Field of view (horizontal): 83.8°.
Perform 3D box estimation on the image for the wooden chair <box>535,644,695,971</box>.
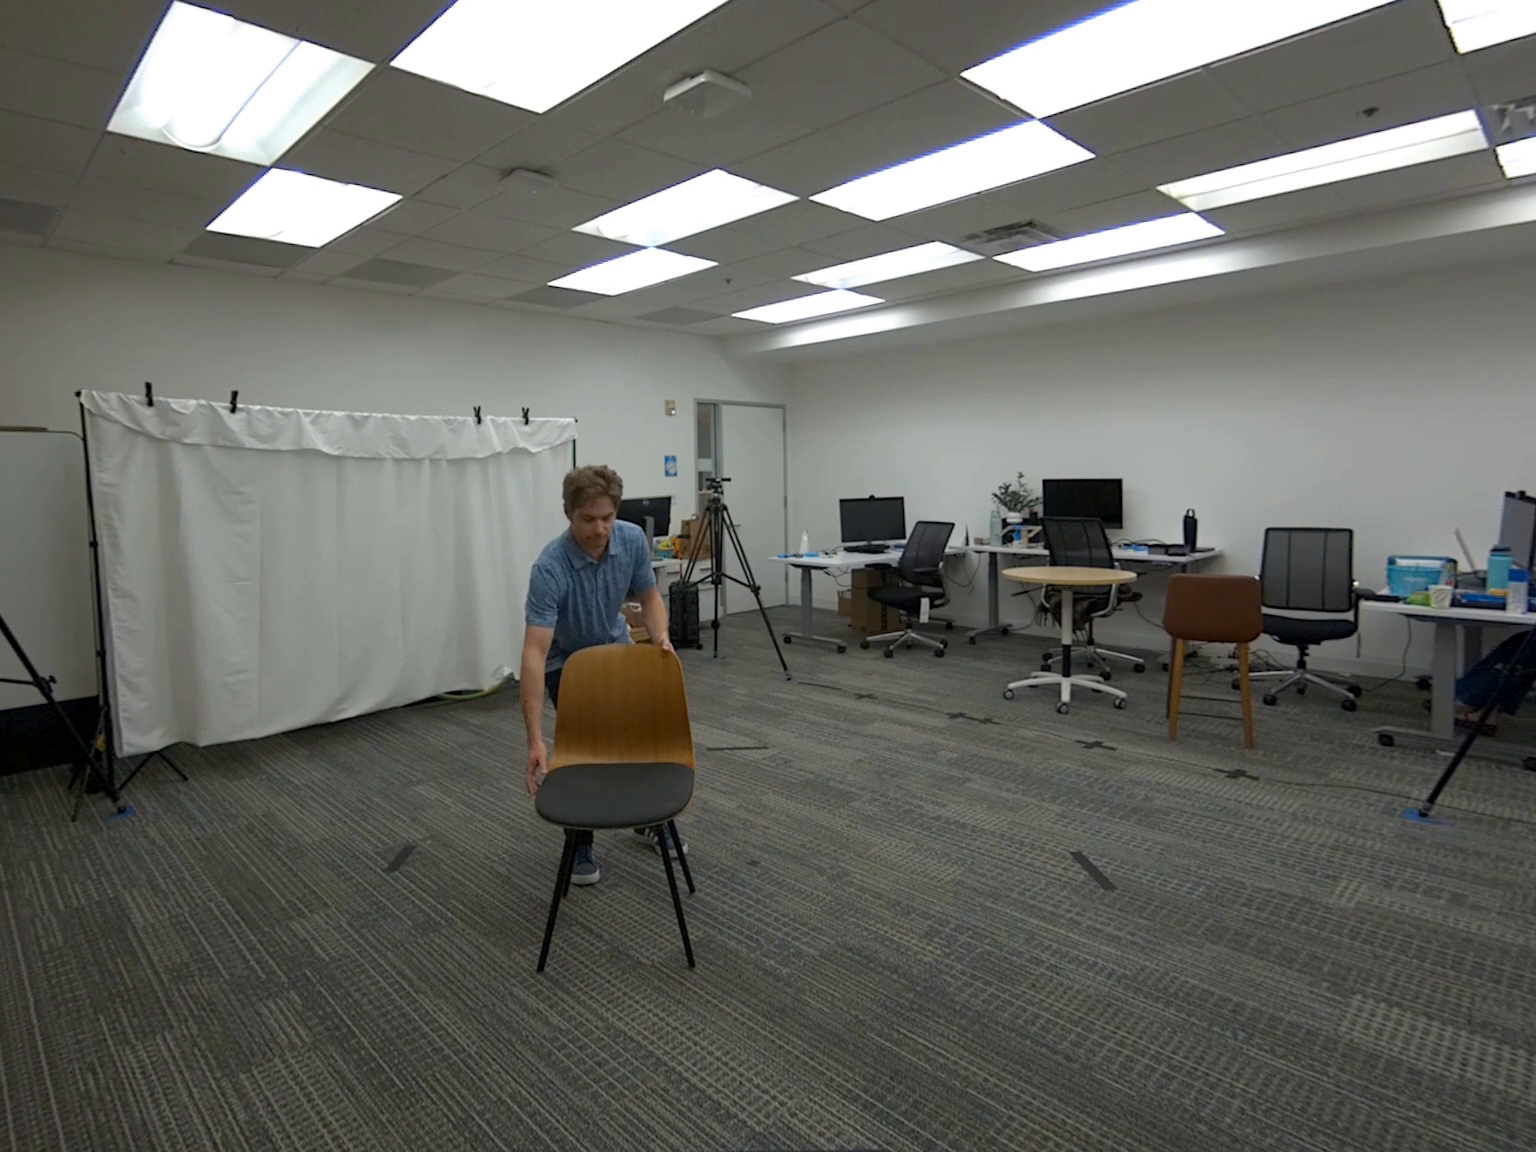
[{"bbox_3d":[-0.453,0.676,2.622,0.477,0.877,0.524,-1,0,-3],"label":"wooden chair"}]
